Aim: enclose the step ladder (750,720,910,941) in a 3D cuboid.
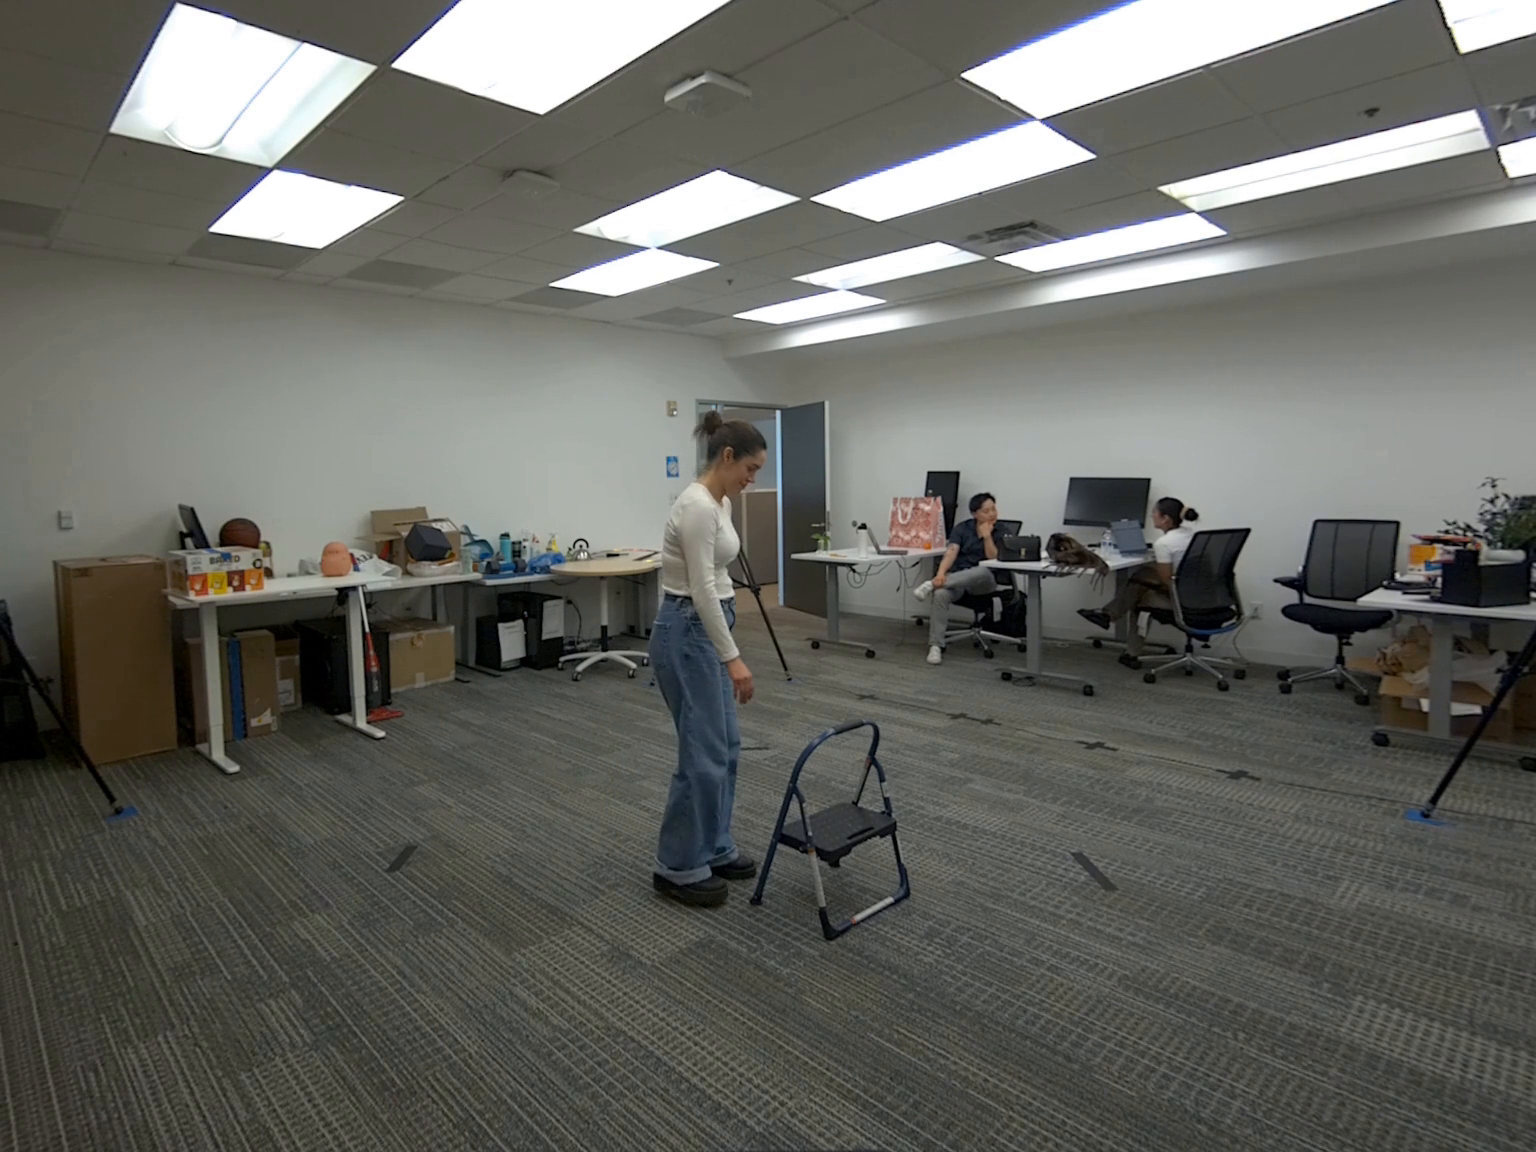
[{"bbox_3d":[0.208,0.767,2.809,0.419,0.604,0.360,-5,6,-44],"label":"step ladder"}]
